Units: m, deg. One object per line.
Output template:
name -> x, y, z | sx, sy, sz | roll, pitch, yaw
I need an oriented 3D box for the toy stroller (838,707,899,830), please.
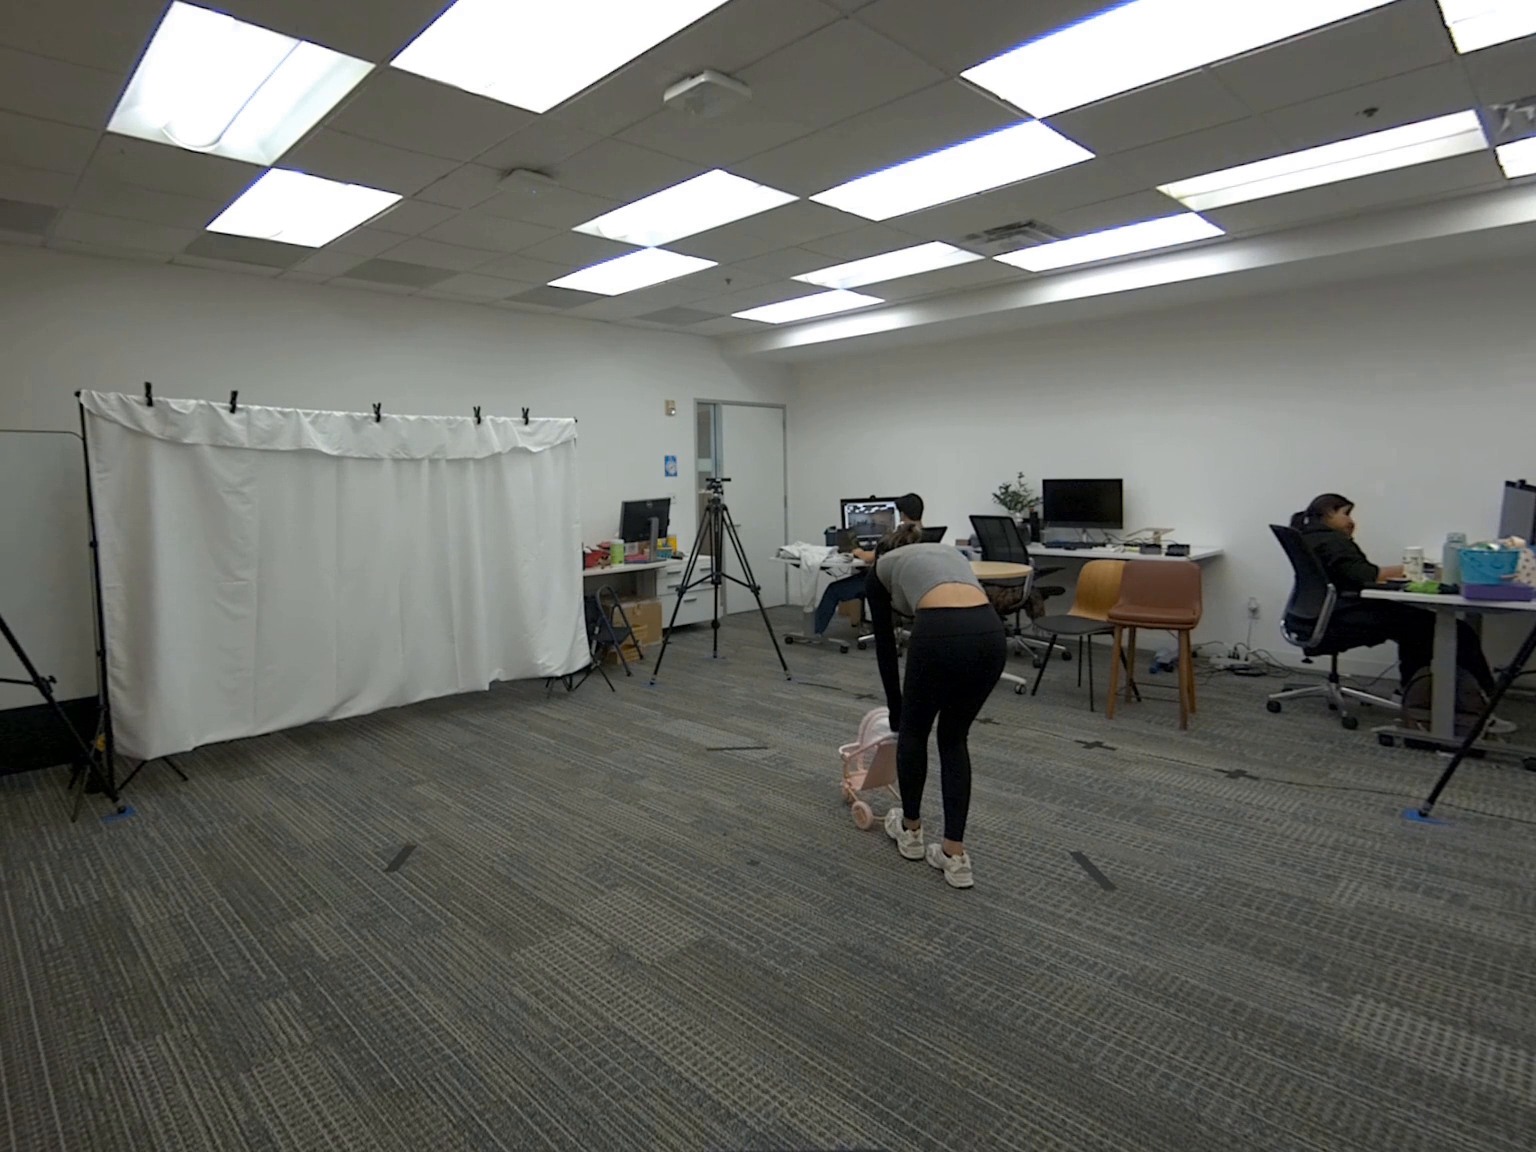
toy stroller -> 0.446, 0.766, 3.493 | 0.275, 0.528, 0.354 | -2, 21, -28
